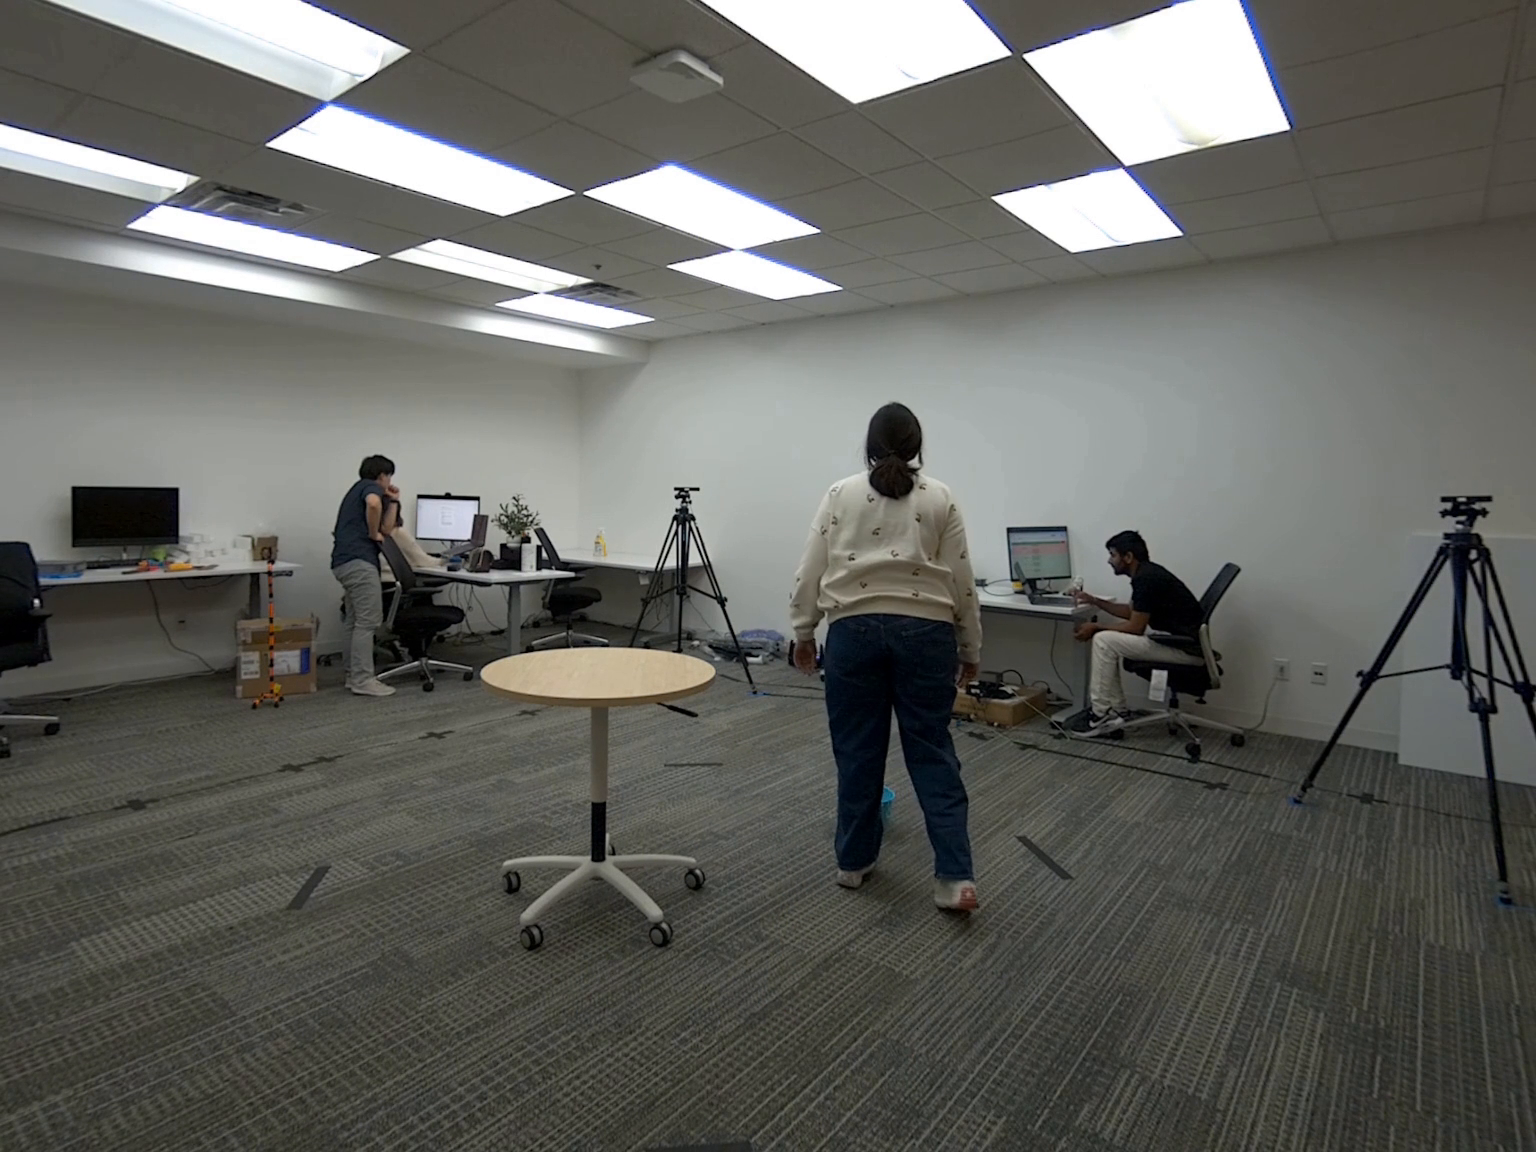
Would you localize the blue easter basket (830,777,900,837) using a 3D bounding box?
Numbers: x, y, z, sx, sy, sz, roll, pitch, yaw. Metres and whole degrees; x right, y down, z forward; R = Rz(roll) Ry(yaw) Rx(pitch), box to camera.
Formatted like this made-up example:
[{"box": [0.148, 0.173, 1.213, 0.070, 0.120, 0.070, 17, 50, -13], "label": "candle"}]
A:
[{"box": [0.396, 0.956, 3.506, 0.243, 0.155, 0.245, 0, 6, -2], "label": "blue easter basket"}]
